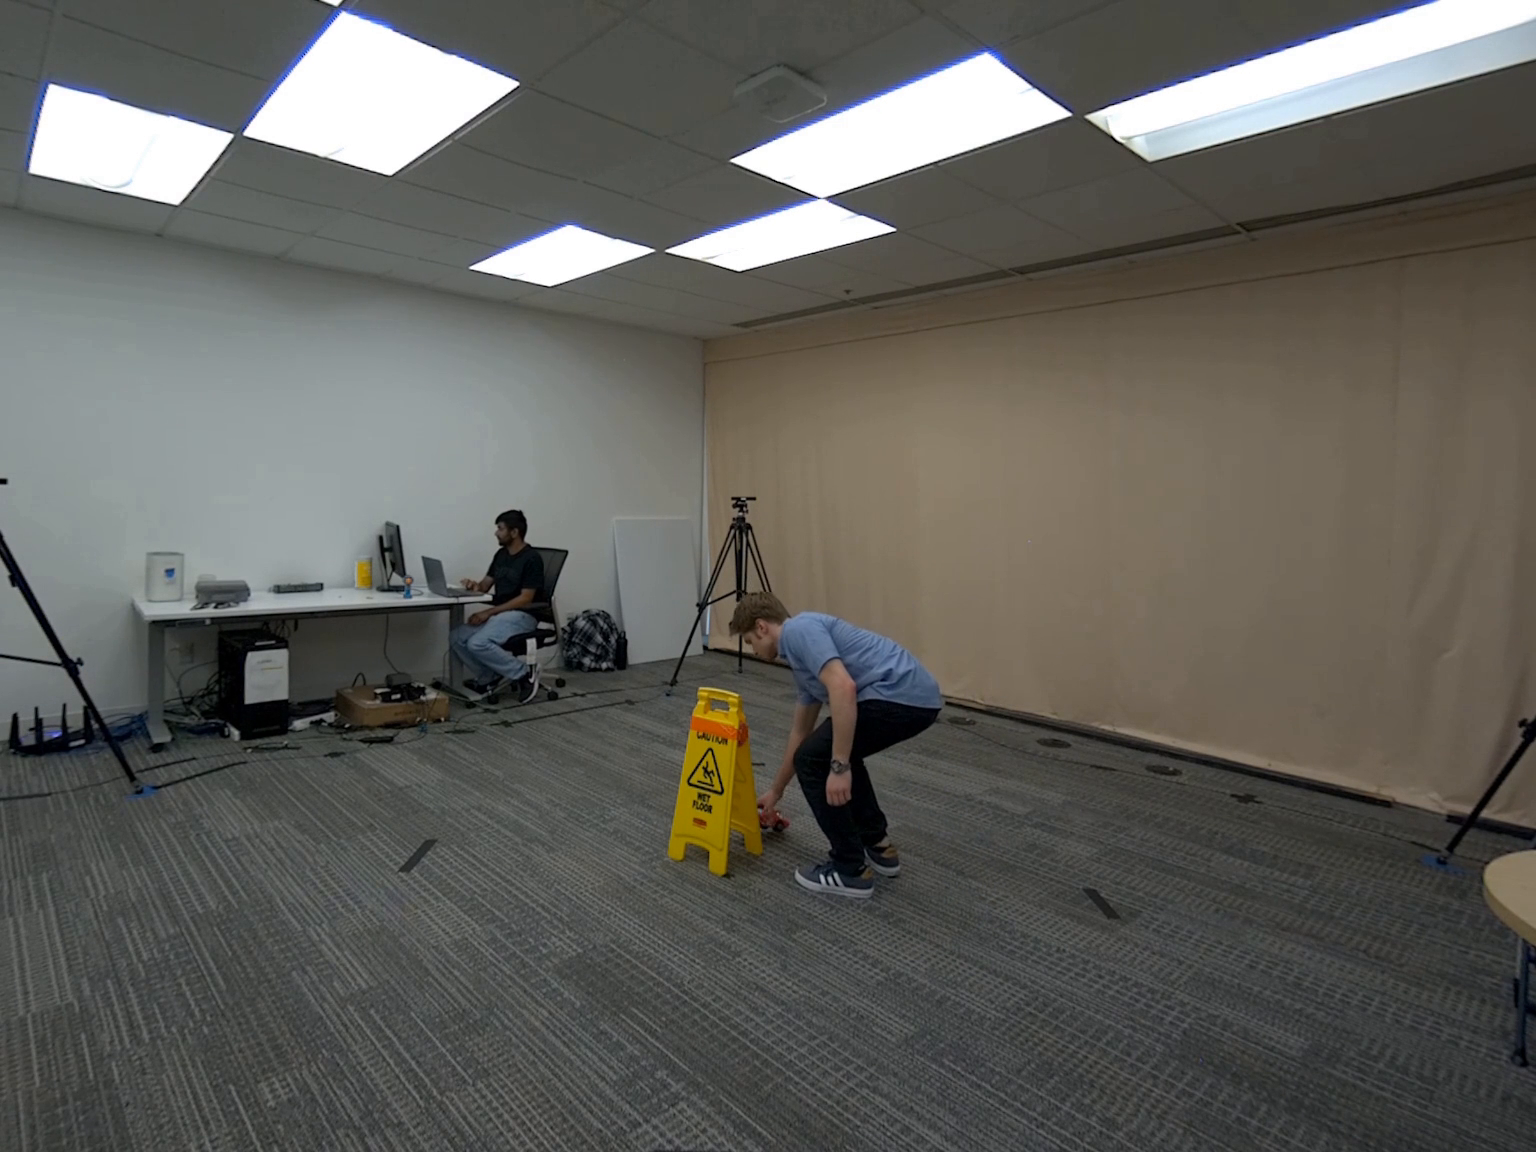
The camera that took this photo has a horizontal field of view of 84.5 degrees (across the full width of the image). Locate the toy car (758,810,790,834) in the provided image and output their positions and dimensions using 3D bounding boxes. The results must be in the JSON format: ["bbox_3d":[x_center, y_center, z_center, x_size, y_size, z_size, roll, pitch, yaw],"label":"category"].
[{"bbox_3d":[-0.025,0.991,3.471,0.248,0.084,0.133,12,-11,-34],"label":"toy car"}]
